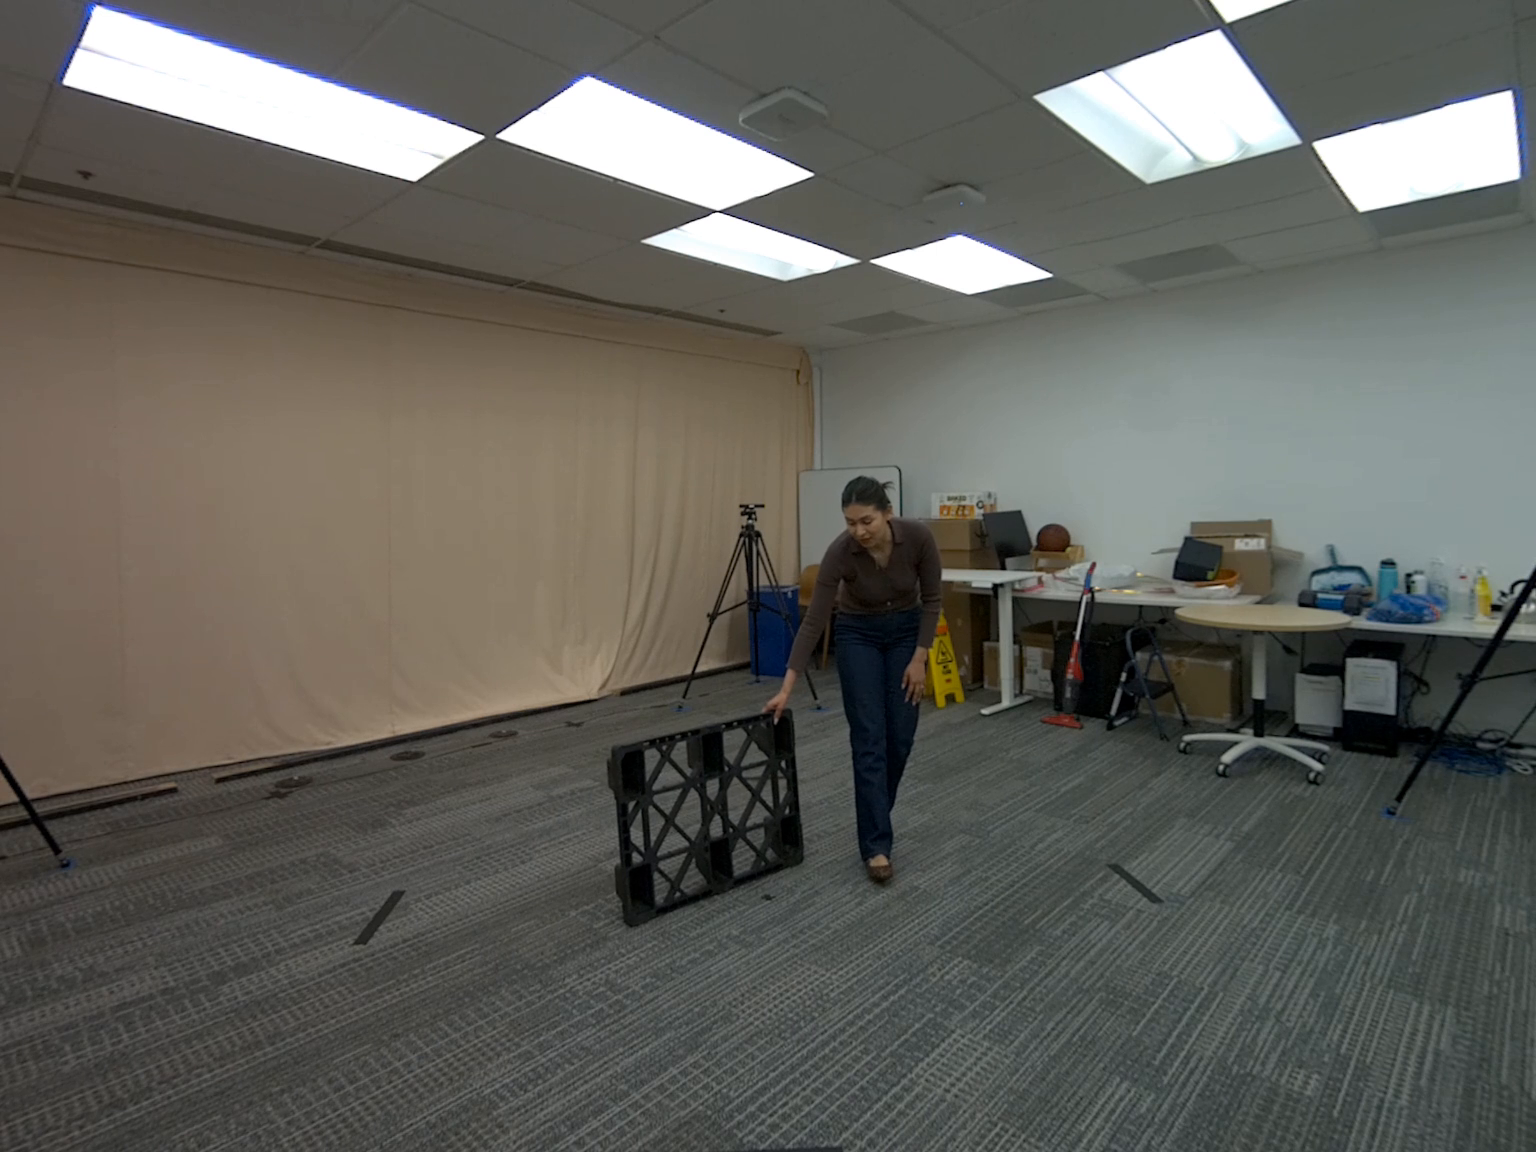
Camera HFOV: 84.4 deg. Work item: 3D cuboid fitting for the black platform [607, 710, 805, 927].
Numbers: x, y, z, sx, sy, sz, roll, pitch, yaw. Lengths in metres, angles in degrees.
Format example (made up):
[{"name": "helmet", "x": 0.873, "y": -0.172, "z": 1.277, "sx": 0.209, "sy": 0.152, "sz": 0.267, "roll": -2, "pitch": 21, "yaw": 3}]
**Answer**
[{"name": "black platform", "x": -0.220, "y": 0.844, "z": 3.078, "sx": 0.782, "sy": 0.605, "sz": 0.147, "roll": -5, "pitch": 0, "yaw": -38}]
